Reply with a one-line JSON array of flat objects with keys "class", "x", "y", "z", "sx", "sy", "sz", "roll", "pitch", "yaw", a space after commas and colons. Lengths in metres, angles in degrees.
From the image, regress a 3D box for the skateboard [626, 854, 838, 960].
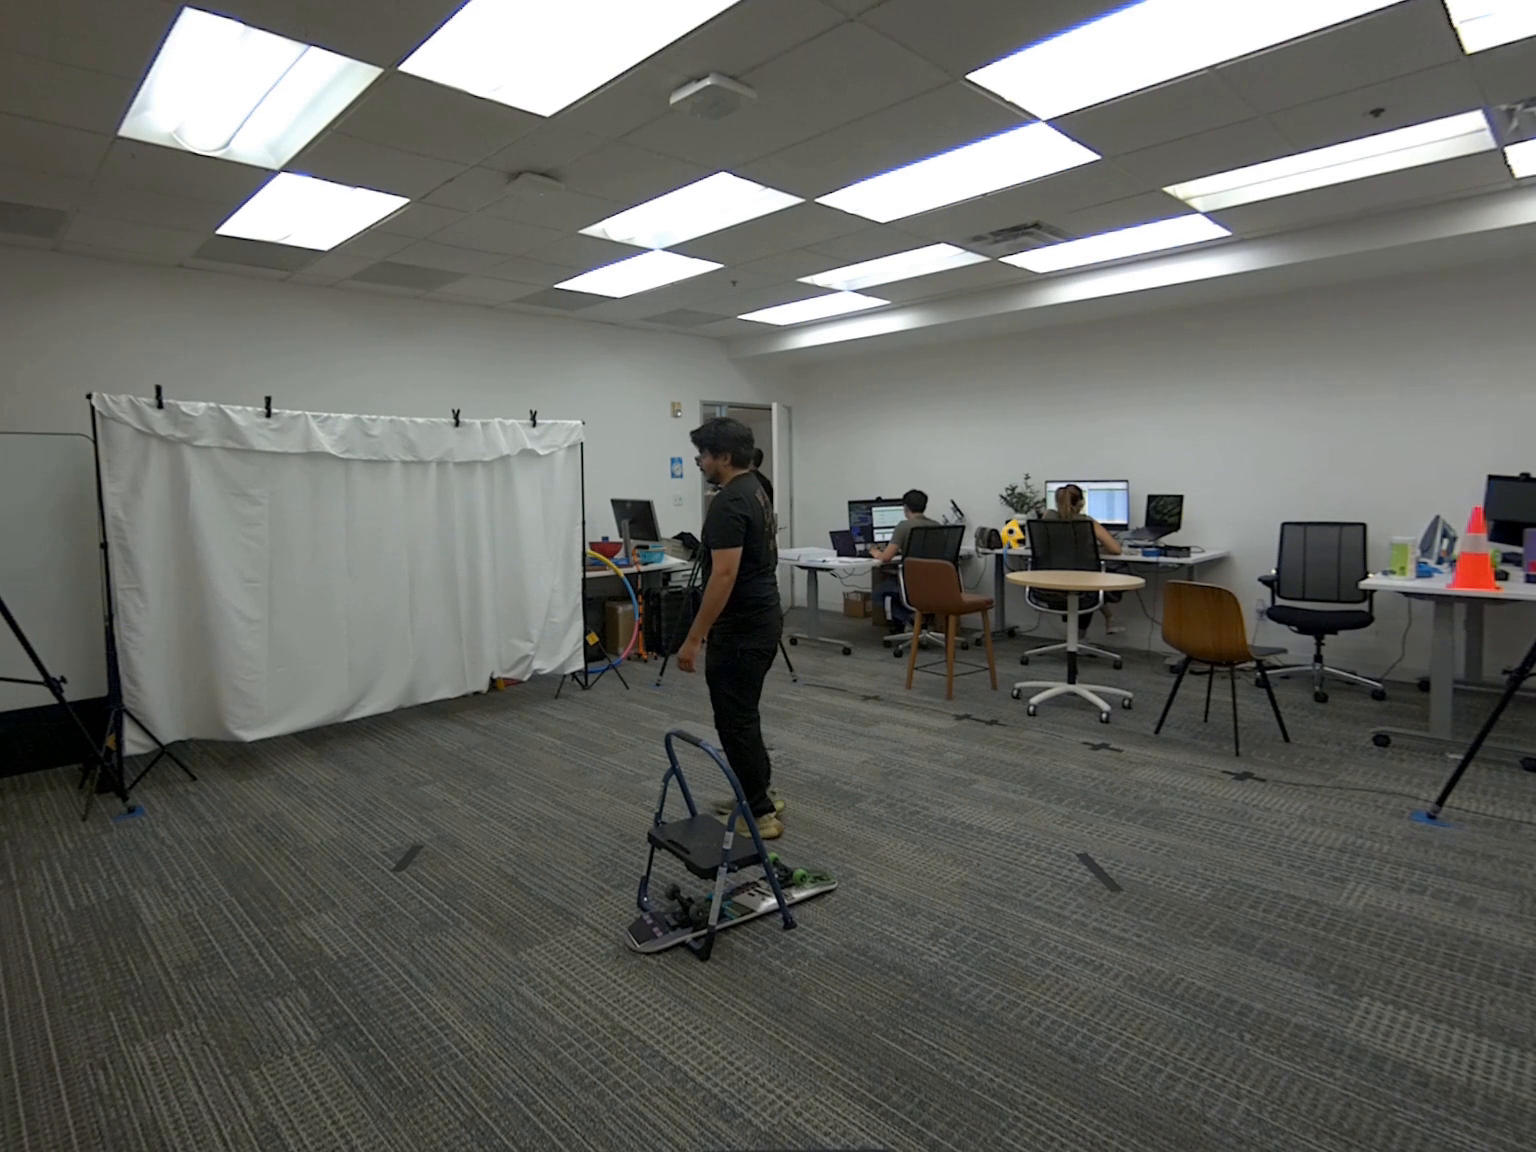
[{"class": "skateboard", "x": -0.090, "y": 1.037, "z": 2.768, "sx": 0.765, "sy": 0.110, "sz": 0.199, "roll": -5, "pitch": 6, "yaw": -36}]
